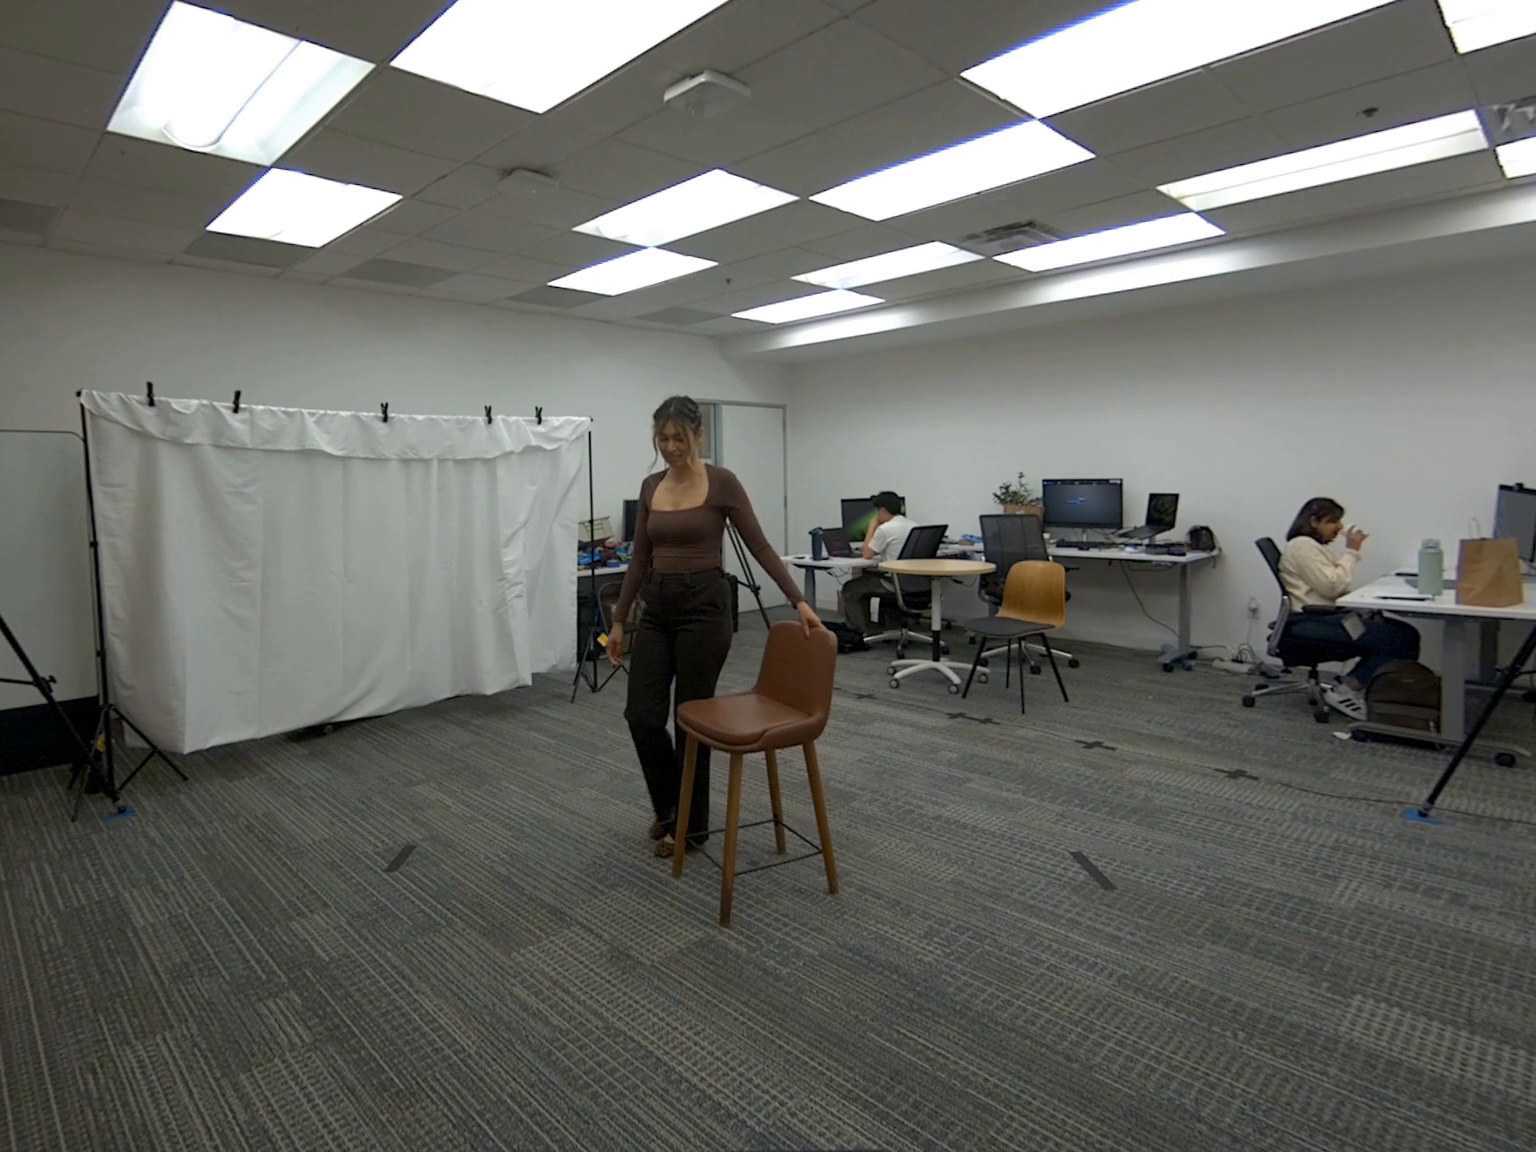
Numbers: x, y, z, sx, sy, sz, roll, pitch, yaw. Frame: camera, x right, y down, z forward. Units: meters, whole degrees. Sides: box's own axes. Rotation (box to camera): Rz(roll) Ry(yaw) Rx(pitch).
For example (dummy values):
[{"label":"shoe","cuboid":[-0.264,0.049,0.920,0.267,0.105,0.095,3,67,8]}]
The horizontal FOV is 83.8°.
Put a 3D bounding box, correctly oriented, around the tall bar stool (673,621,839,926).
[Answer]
[{"label":"tall bar stool","cuboid":[-0.043,0.629,2.913,0.457,0.887,0.469,-1,4,-28]}]
